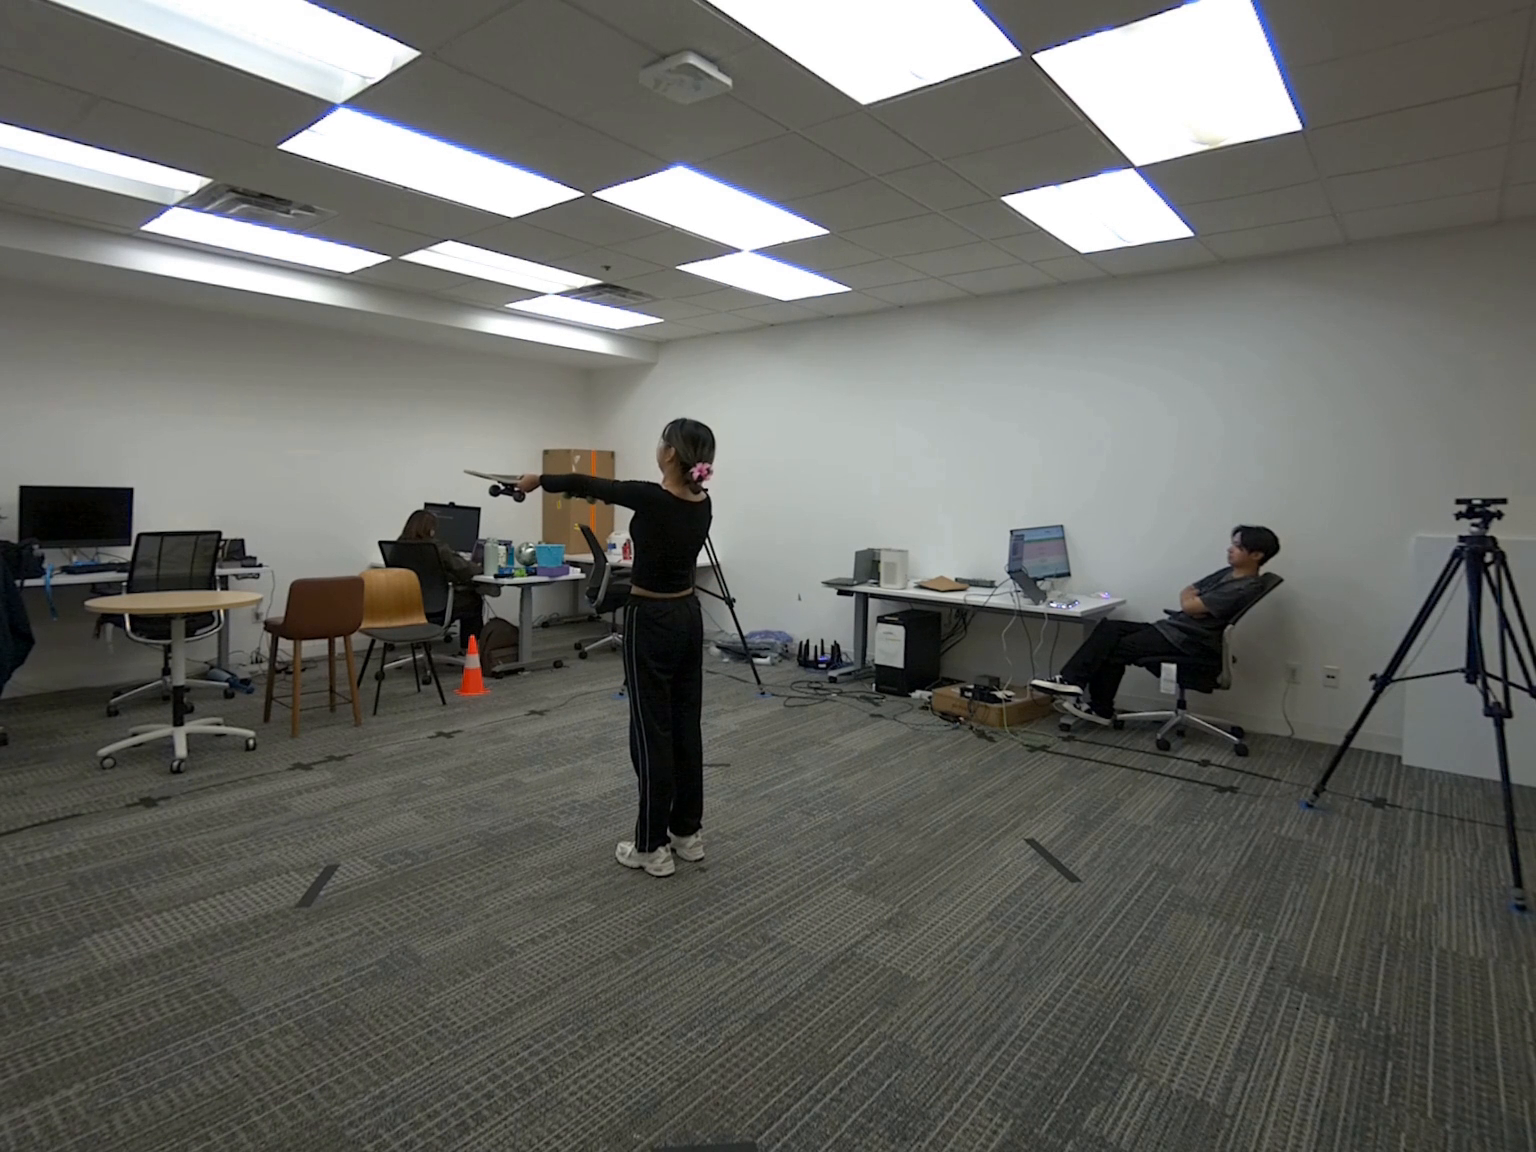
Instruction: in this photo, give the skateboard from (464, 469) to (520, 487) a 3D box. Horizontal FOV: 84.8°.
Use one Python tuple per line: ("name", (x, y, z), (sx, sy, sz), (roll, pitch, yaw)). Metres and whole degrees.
("skateboard", (-0.946, -0.370, 3.557), (0.200, 0.110, 0.762), (12, 9, 36))
